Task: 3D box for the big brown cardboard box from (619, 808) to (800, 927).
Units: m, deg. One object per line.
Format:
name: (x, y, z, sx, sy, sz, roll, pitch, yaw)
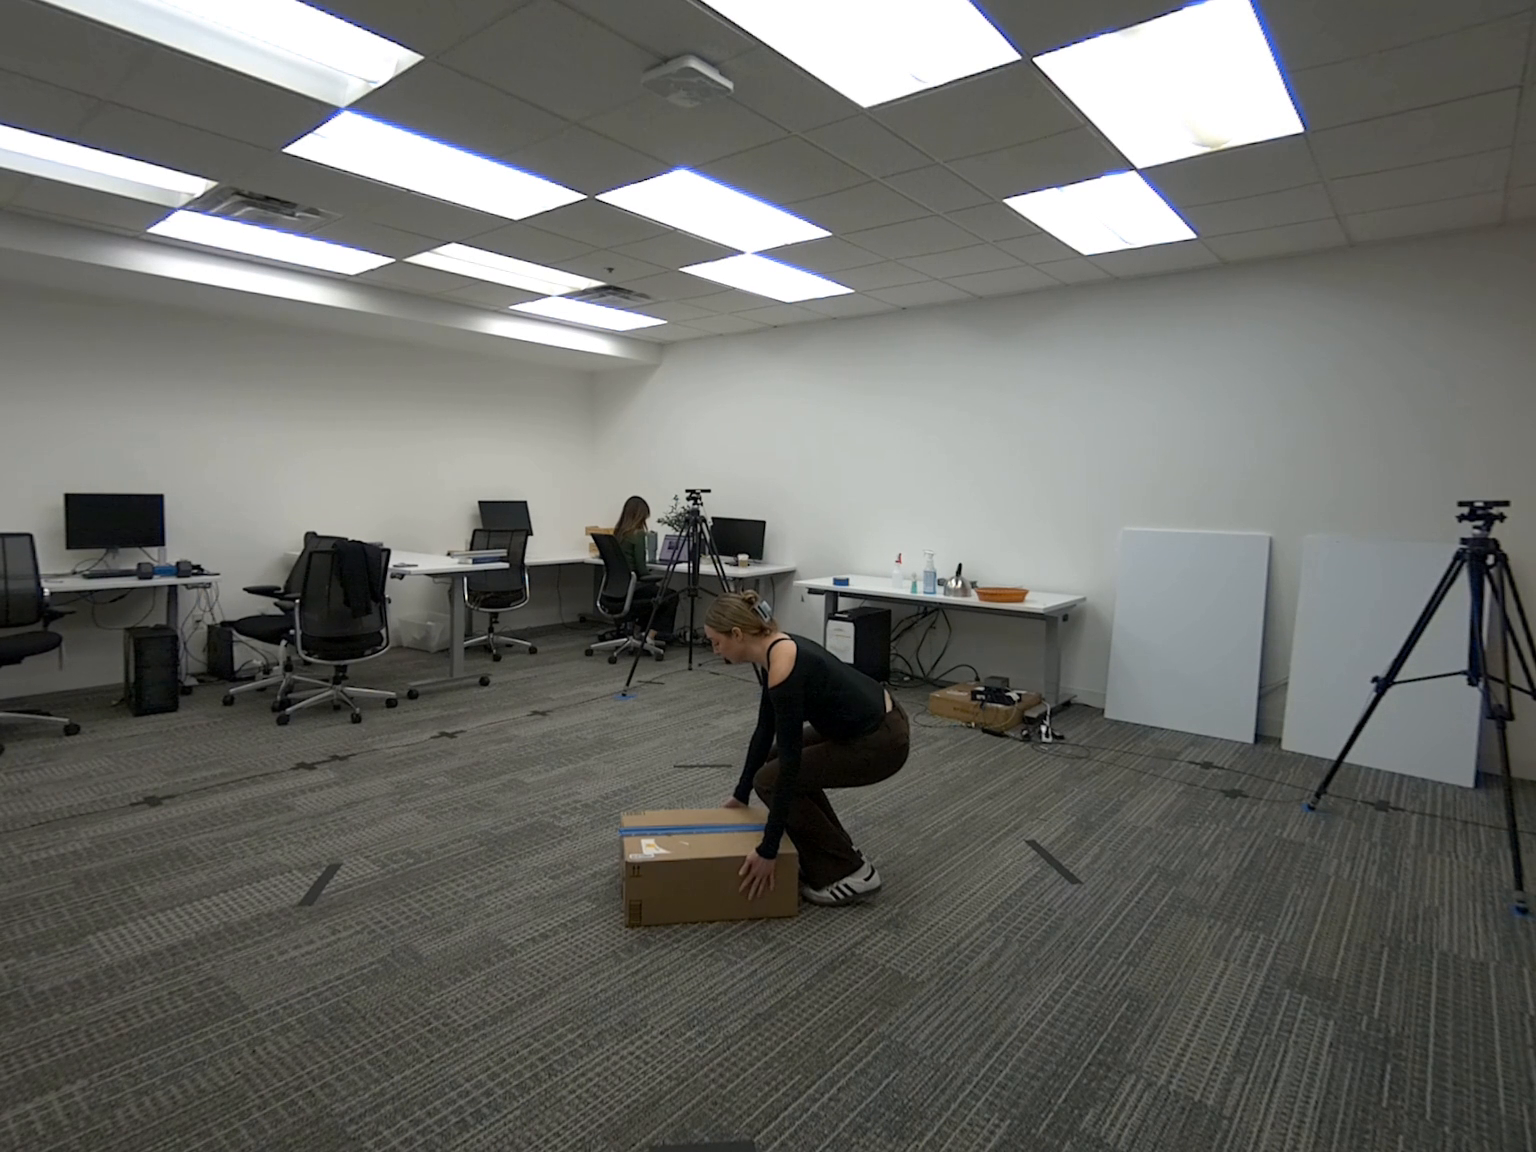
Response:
big brown cardboard box: (-0.240, 0.976, 2.931, 0.582, 0.232, 0.424, 1, 5, -11)
